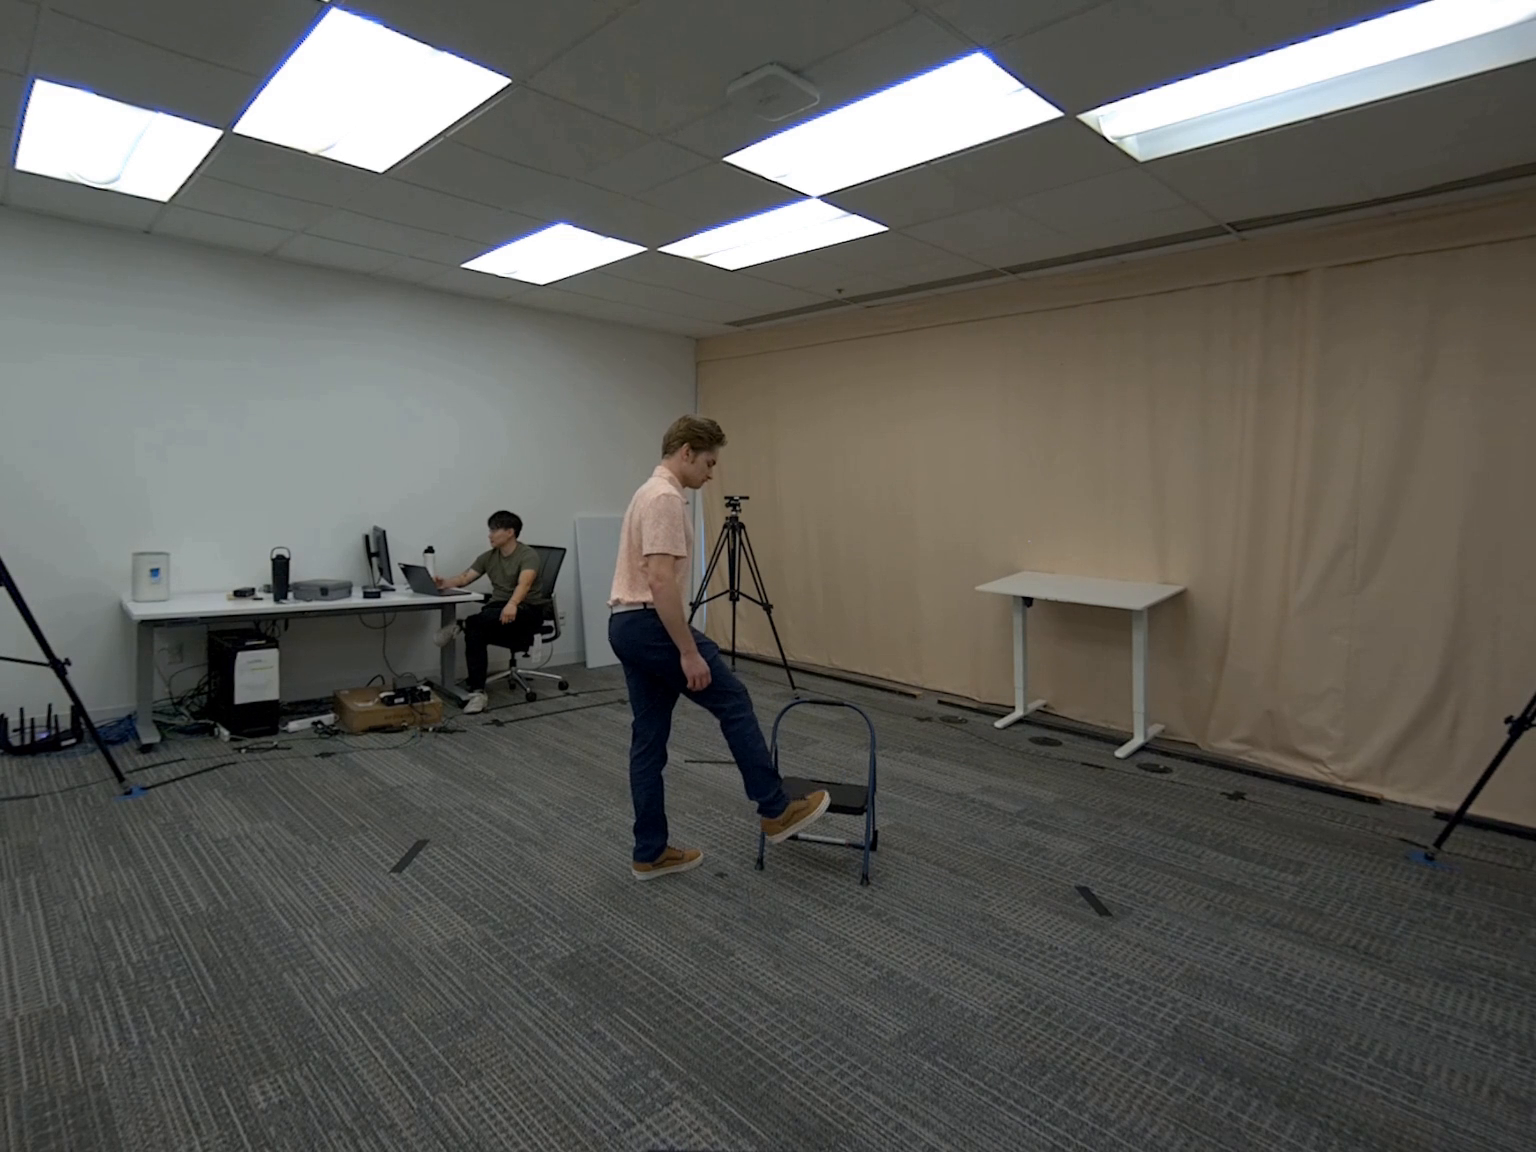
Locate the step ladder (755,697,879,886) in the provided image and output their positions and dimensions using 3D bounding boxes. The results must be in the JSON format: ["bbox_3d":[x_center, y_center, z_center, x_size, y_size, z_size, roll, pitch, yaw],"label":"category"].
[{"bbox_3d":[0.200,0.795,3.254,0.436,0.605,0.346,2,3,14],"label":"step ladder"}]
